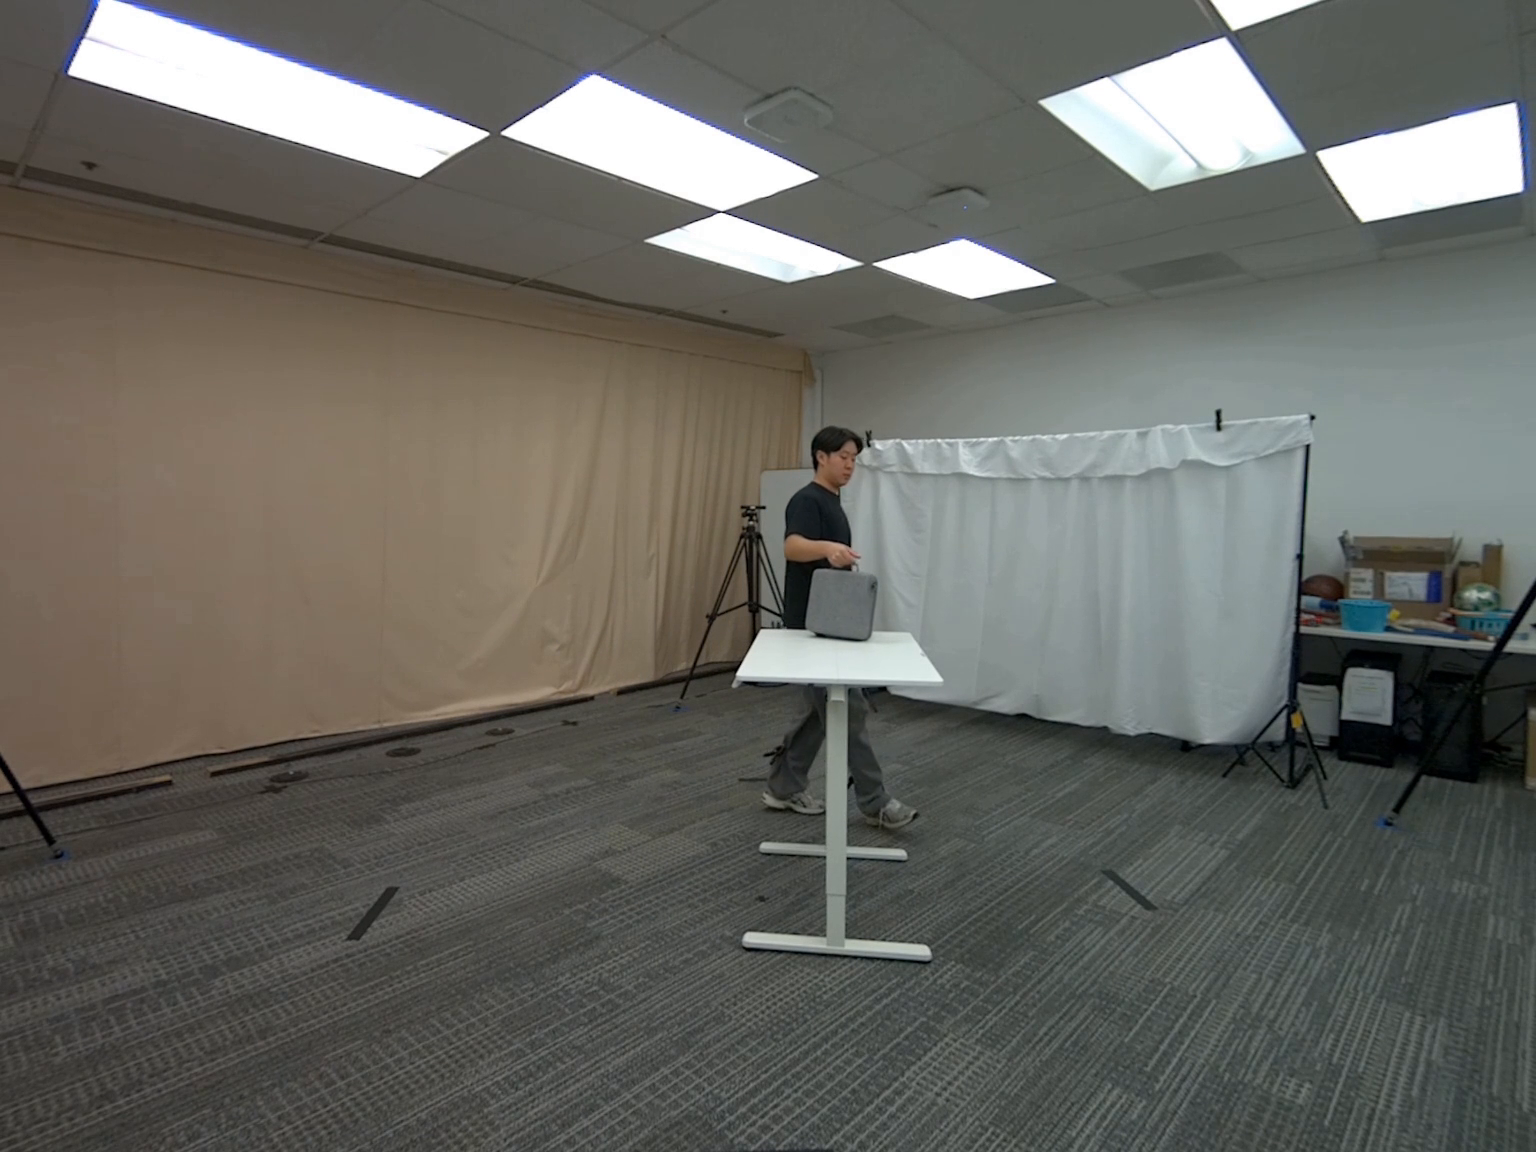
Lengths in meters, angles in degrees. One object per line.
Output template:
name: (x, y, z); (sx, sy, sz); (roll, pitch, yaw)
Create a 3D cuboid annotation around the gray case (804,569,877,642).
gray case: (0.291, 0.097, 3.240); (0.271, 0.288, 0.100); (5, -5, 33)
